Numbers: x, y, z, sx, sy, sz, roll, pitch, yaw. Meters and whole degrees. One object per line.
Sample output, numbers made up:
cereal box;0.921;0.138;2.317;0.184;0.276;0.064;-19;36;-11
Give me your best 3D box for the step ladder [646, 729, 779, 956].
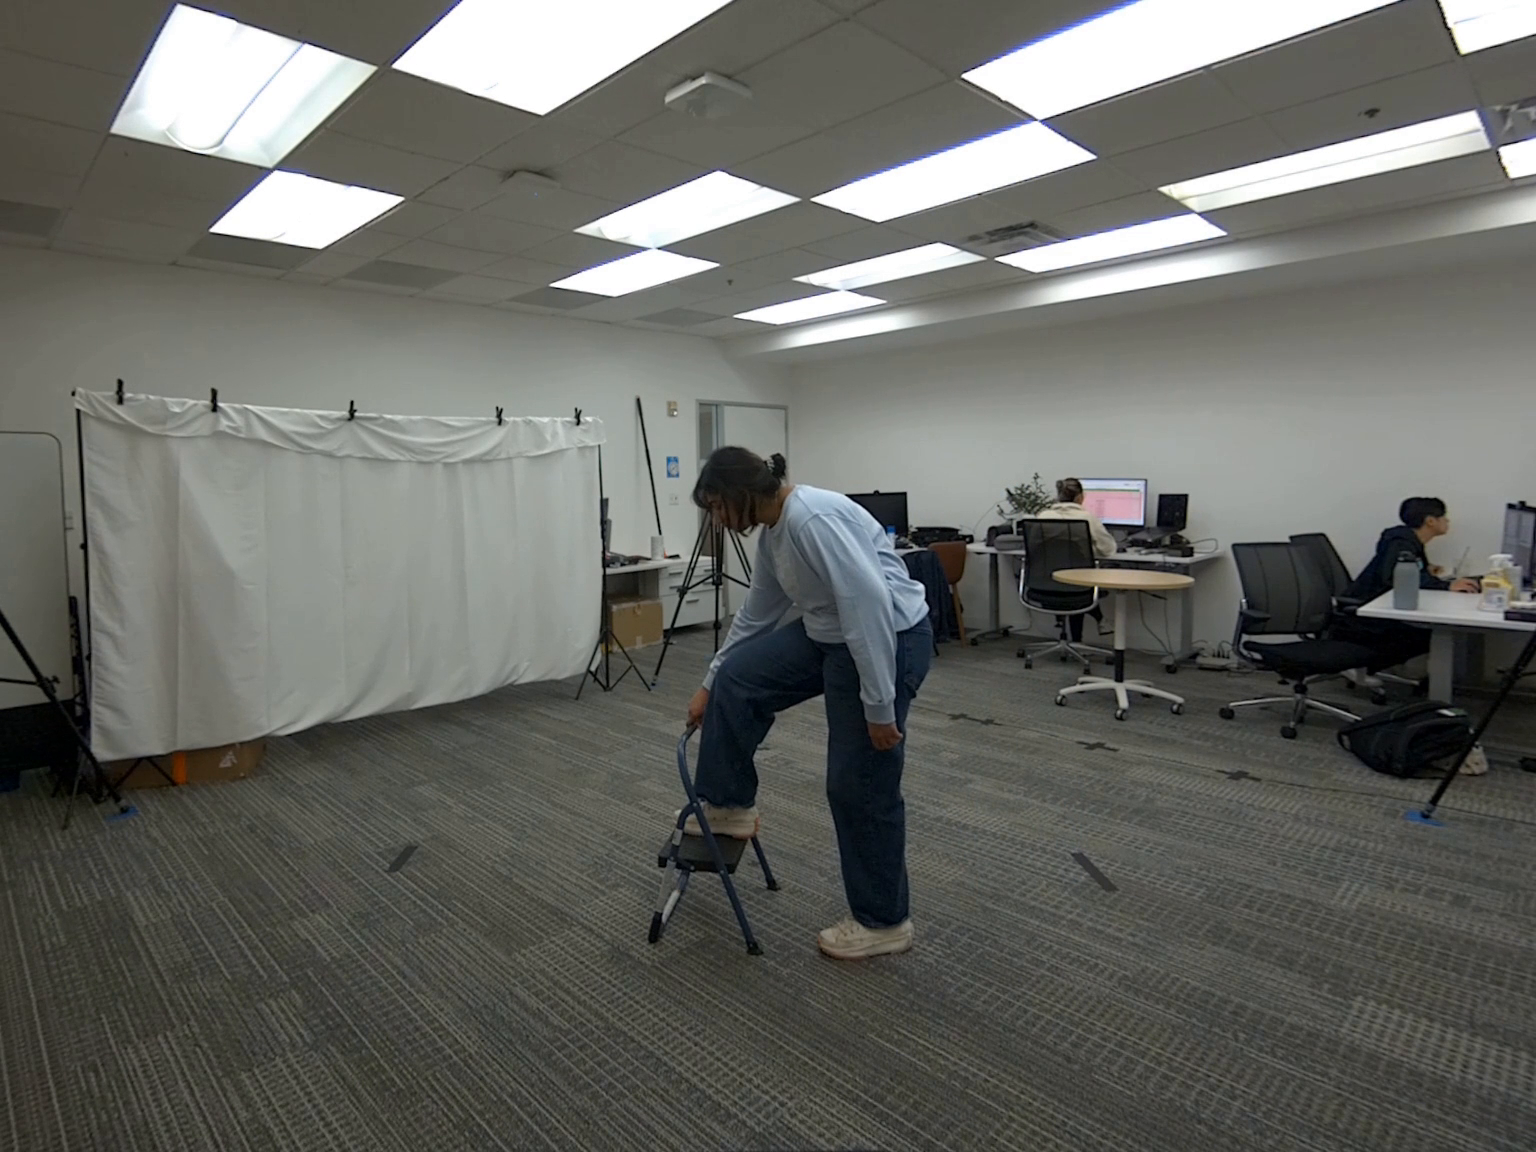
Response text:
step ladder;-0.164;0.791;2.733;0.353;0.604;0.428;0;5;10
